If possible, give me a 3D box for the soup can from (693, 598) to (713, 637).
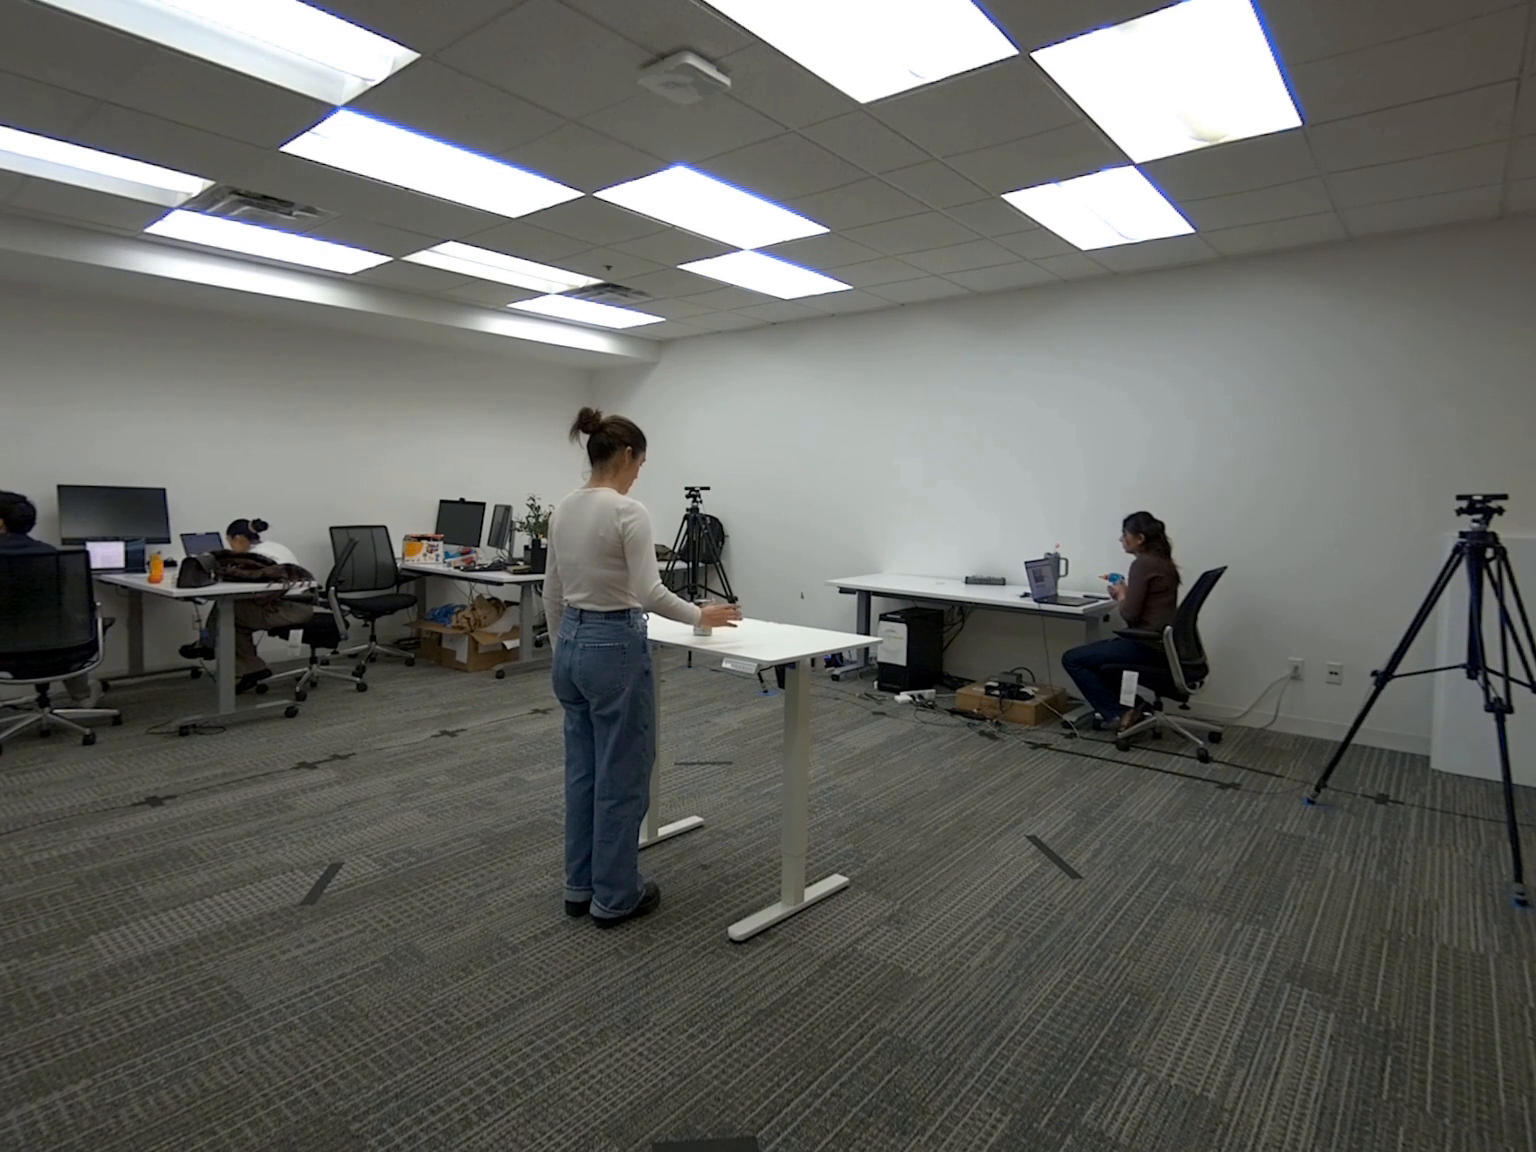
[{"bbox_3d":[-0.242,0.143,2.918,0.067,0.121,0.067,-1,3,-2],"label":"soup can"}]
